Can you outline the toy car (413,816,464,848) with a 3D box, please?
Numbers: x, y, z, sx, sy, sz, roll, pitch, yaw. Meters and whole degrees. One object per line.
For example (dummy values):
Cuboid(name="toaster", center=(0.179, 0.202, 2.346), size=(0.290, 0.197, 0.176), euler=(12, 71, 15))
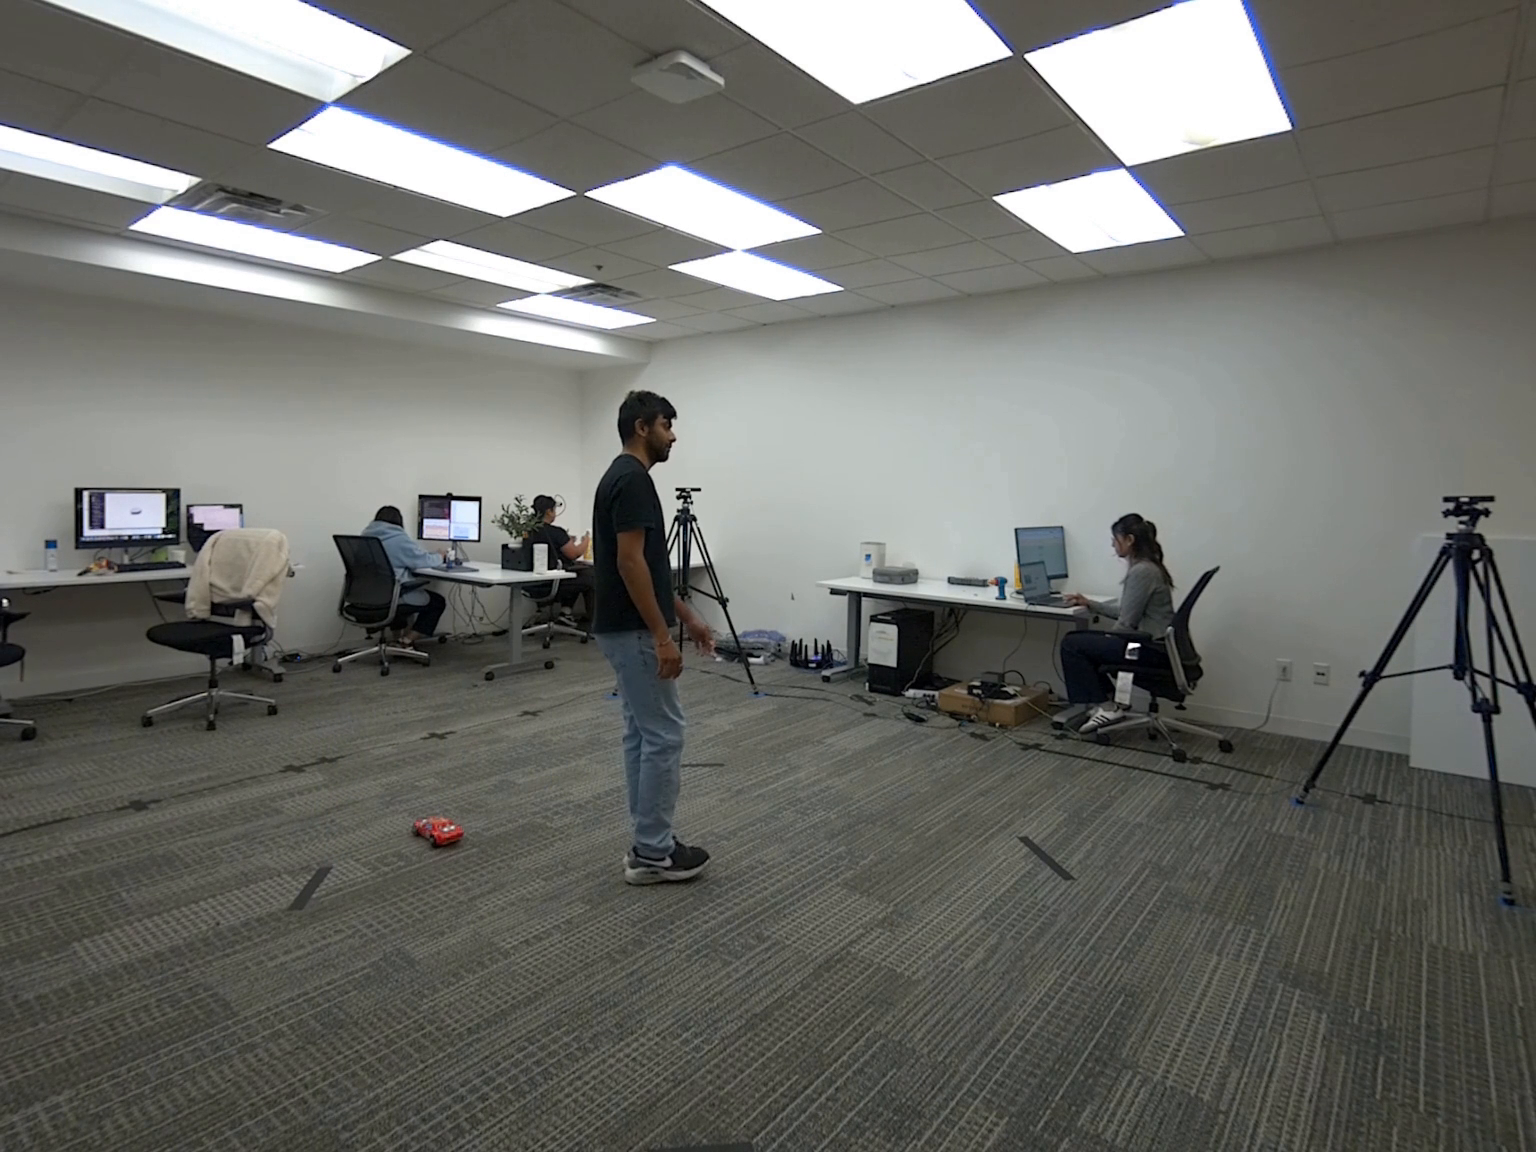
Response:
Cuboid(name="toy car", center=(-1.308, 1.002, 3.337), size=(0.261, 0.083, 0.126), euler=(-8, -3, 42))
